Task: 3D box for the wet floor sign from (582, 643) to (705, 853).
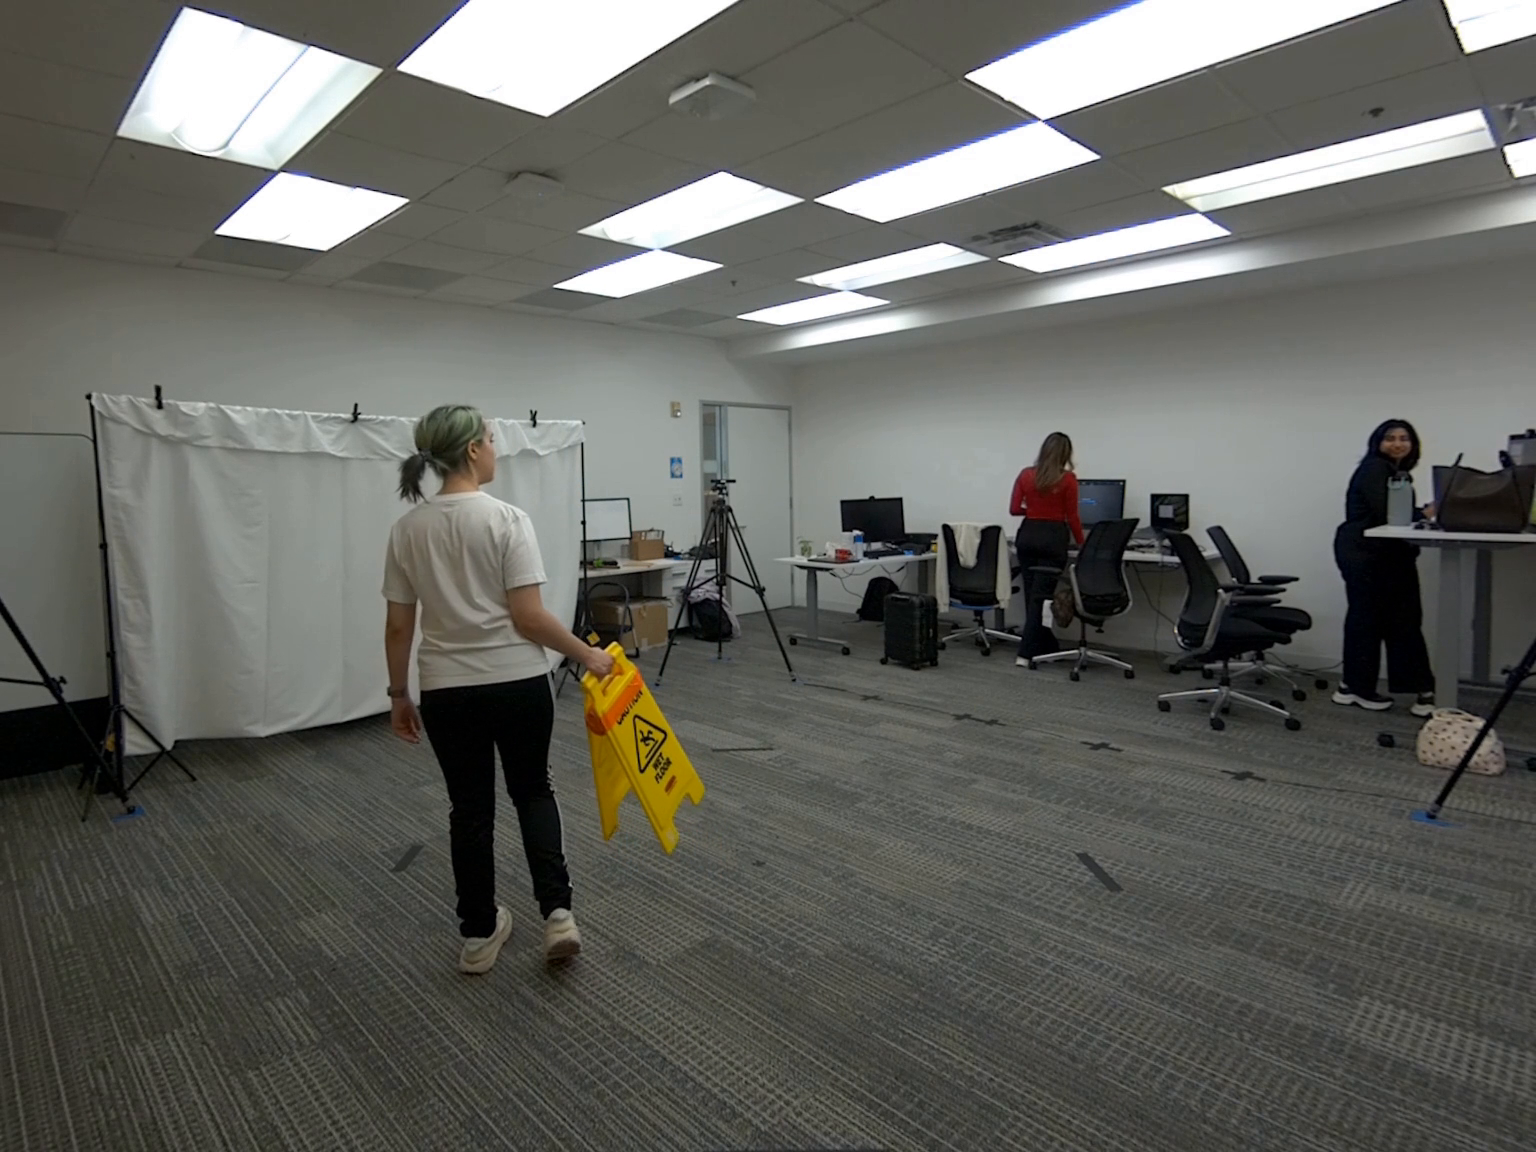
[{"bbox_3d":[-0.441,0.531,2.700,0.296,0.630,0.283,-1,28,26],"label":"wet floor sign"}]
